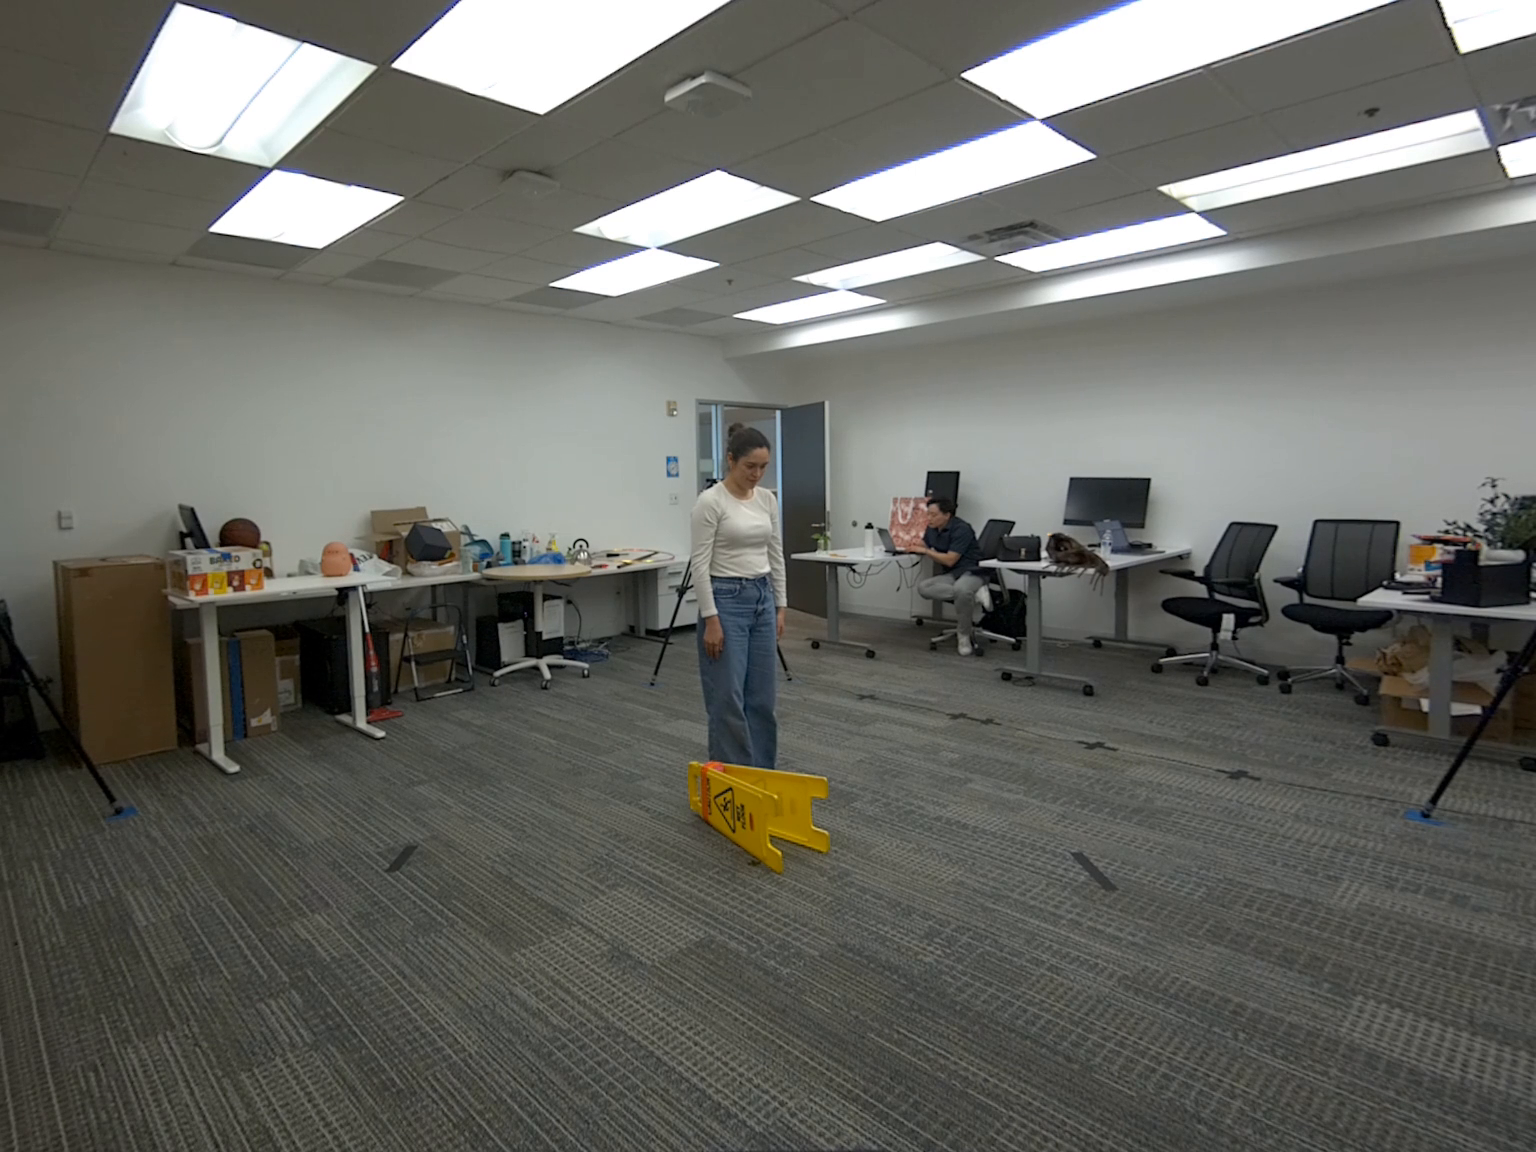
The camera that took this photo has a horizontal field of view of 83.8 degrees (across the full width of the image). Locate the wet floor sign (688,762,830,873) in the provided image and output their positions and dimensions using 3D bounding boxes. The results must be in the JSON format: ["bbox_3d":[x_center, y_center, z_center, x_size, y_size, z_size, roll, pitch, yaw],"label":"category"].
[{"bbox_3d":[-0.096,0.891,3.335,0.282,0.281,0.665,-4,5,-44],"label":"wet floor sign"}]
